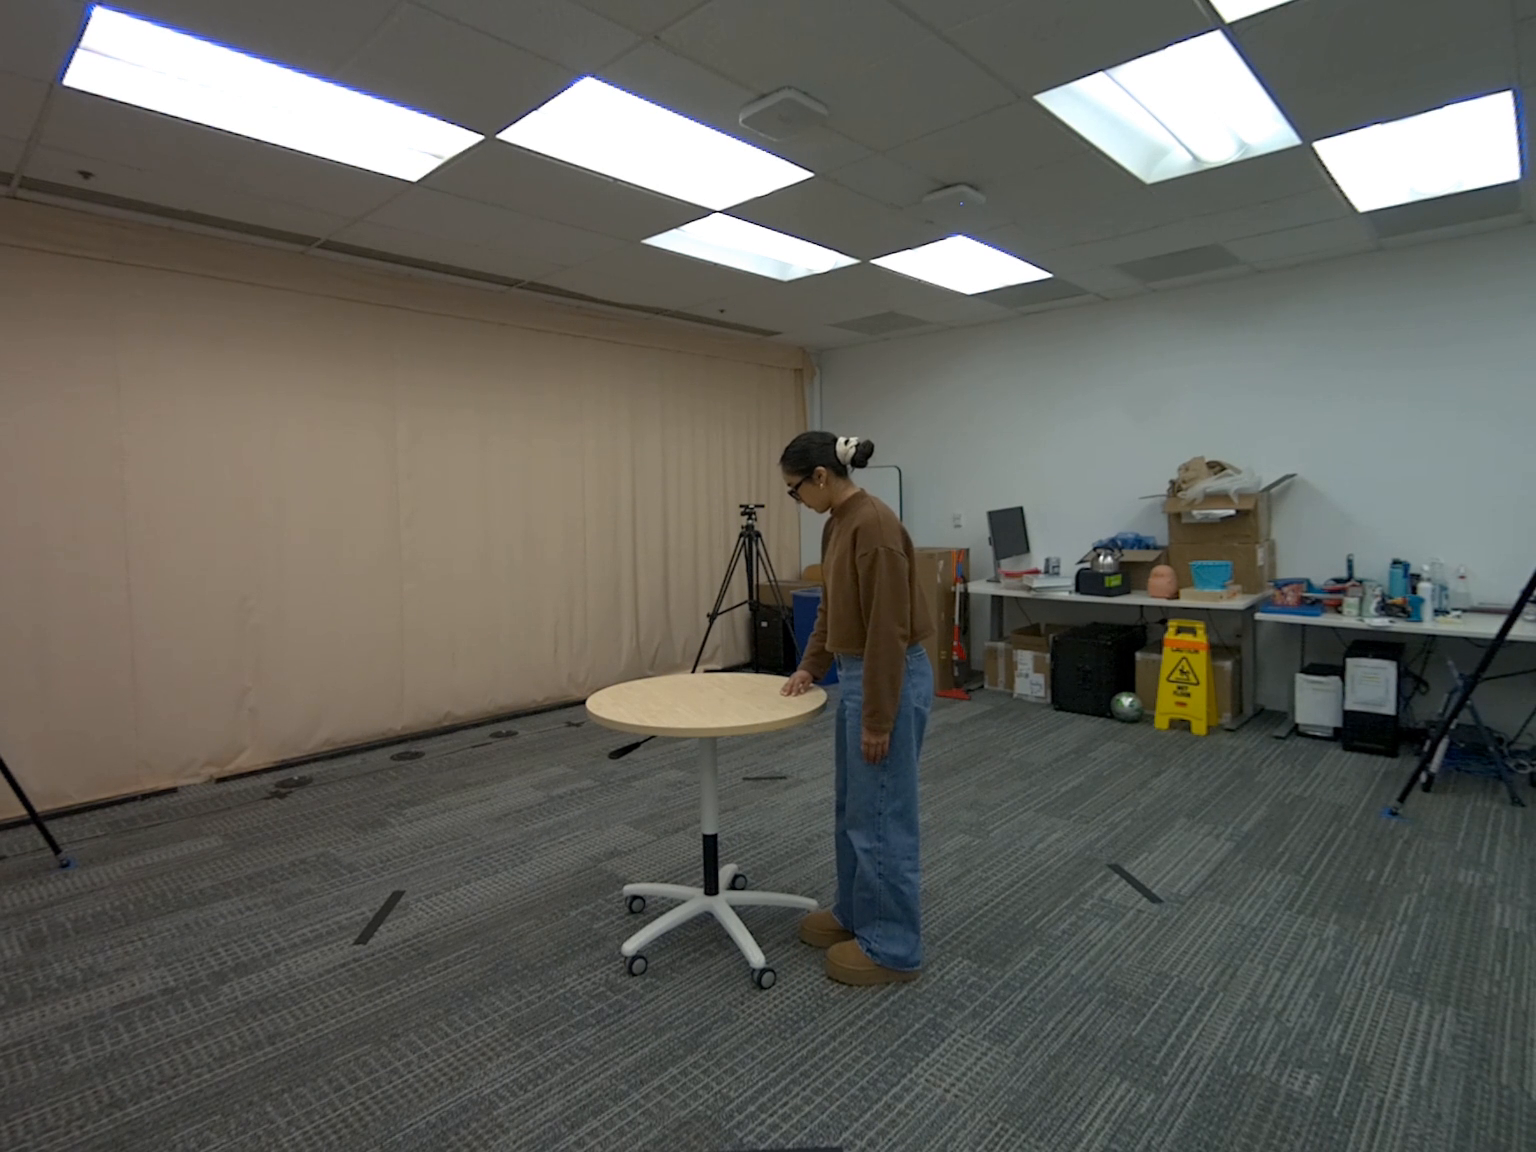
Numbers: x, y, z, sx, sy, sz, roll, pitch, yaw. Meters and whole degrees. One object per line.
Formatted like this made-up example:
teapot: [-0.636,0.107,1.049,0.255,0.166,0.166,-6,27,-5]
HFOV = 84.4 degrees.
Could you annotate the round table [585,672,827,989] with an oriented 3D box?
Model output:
round table: [-0.186,0.780,2.709,0.763,0.792,0.766,-1,4,-2]
